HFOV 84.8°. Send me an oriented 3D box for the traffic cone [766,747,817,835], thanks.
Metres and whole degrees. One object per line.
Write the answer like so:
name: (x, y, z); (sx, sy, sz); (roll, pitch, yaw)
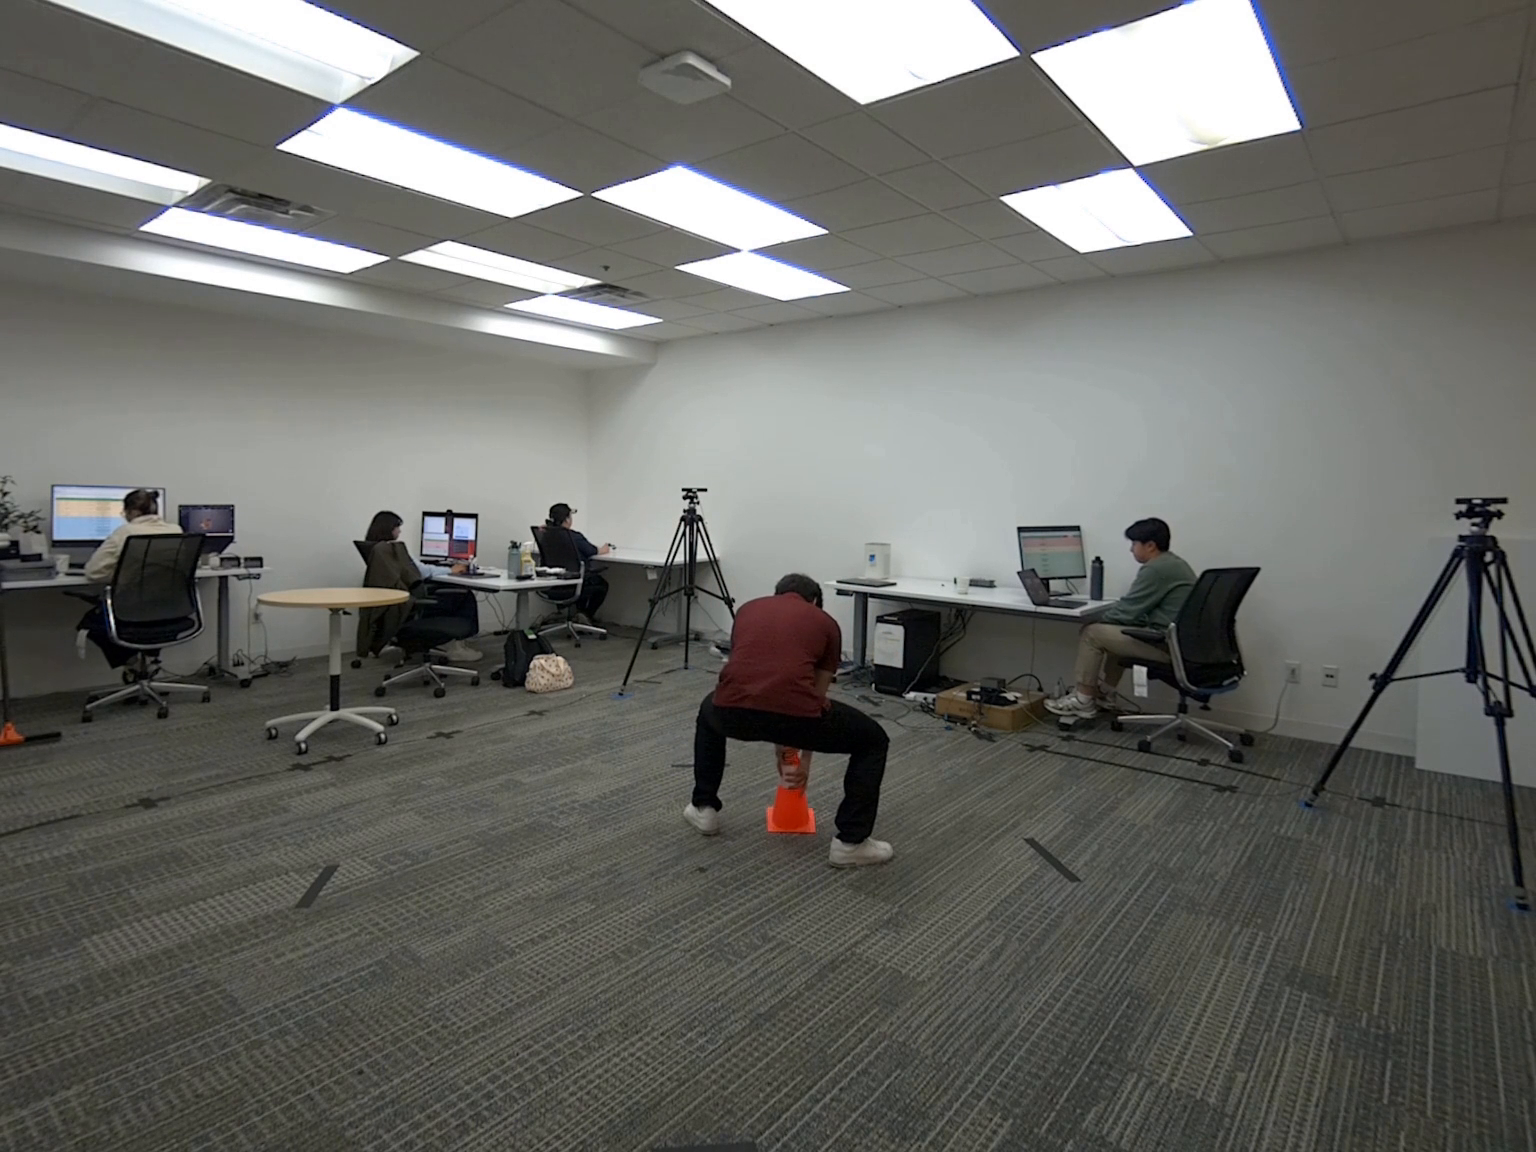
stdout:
traffic cone: (0.092, 0.835, 3.536); (0.204, 0.380, 0.206); (1, 9, 3)
